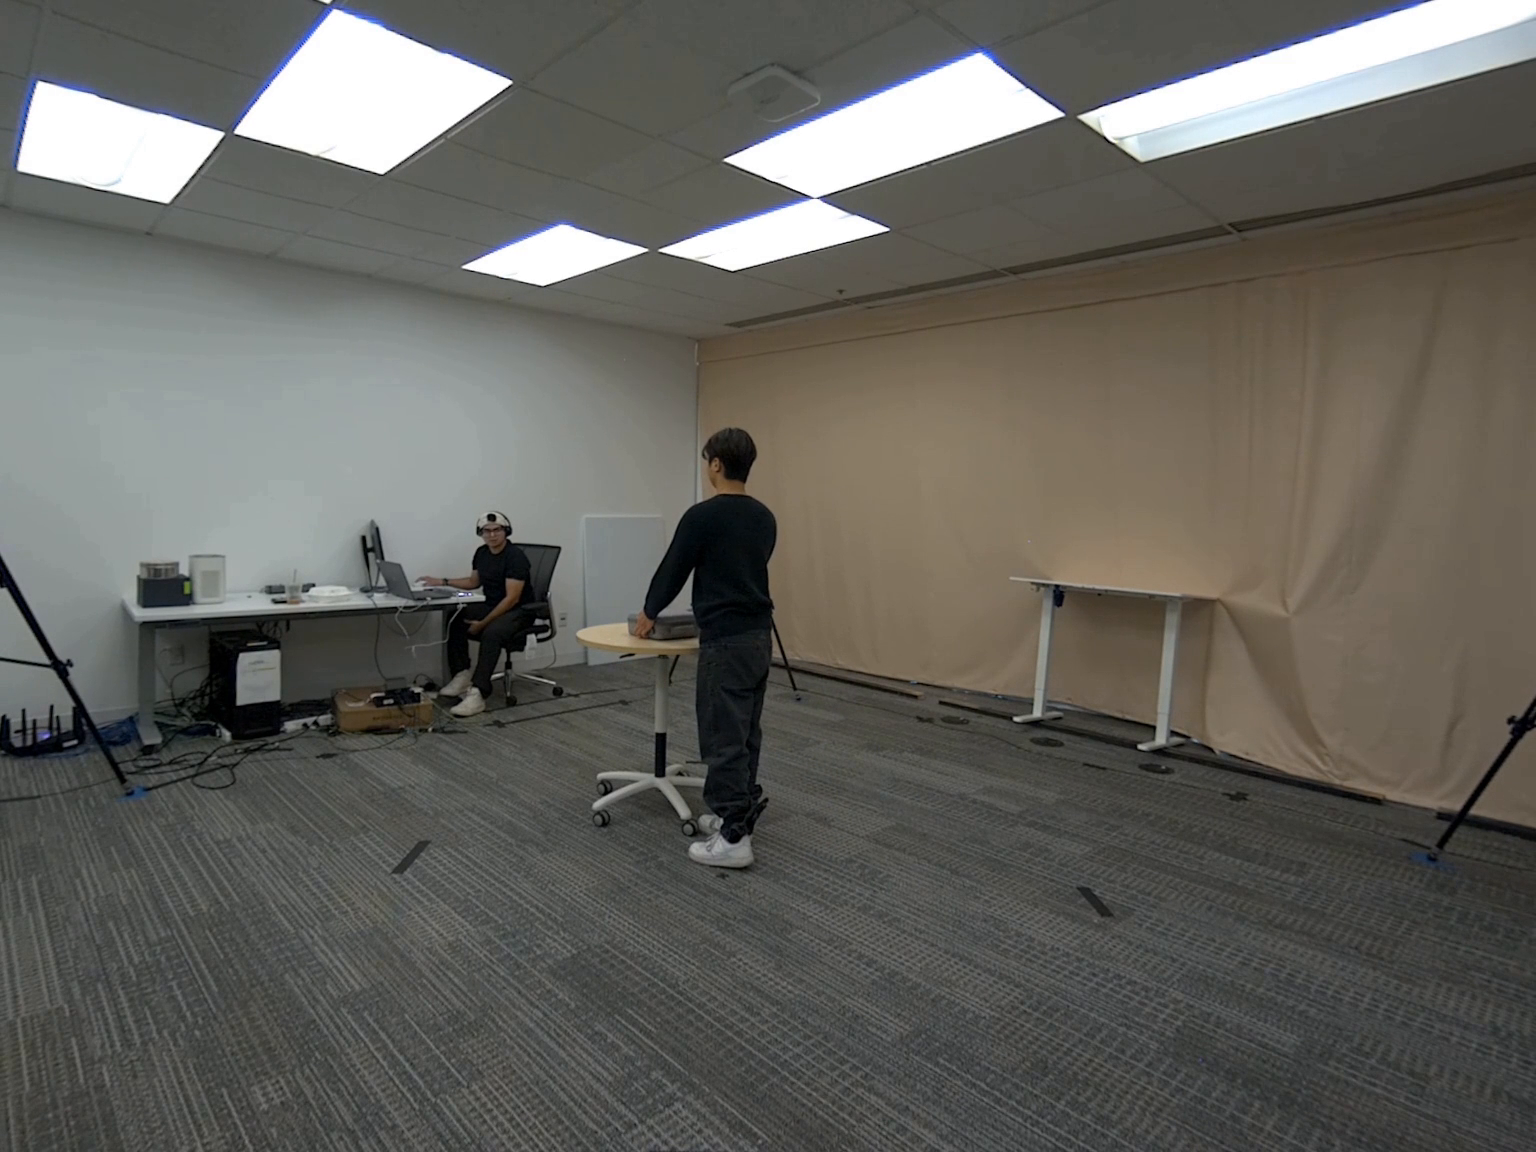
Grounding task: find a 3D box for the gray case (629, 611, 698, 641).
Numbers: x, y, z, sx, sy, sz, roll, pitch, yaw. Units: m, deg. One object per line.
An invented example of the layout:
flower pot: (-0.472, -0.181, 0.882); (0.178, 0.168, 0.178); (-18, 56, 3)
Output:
gray case: (-0.462, 0.209, 3.716); (0.251, 0.104, 0.267); (-1, 3, -44)
